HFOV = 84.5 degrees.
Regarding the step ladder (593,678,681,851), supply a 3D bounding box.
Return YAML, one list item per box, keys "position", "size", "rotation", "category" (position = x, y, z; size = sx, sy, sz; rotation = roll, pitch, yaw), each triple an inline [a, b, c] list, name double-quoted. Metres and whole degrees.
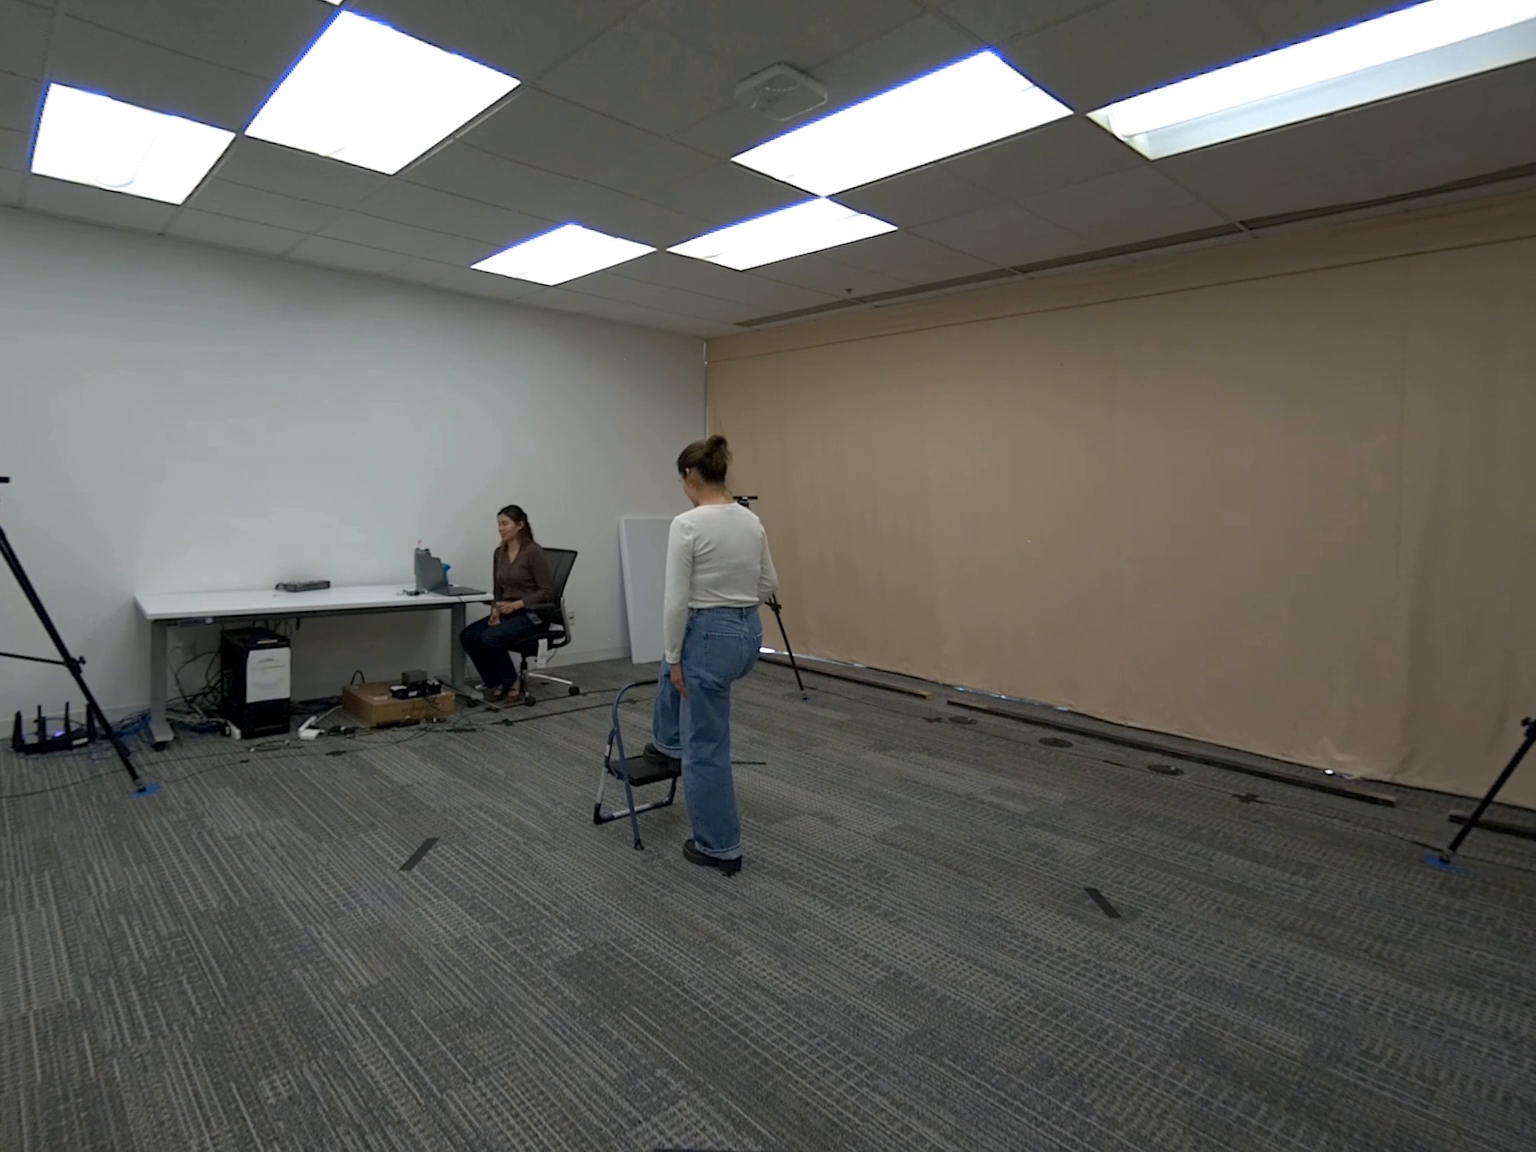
- position: [-0.474, 0.753, 3.555]
  size: [0.420, 0.605, 0.358]
  rotation: [-1, 4, -44]
  category: "step ladder"
